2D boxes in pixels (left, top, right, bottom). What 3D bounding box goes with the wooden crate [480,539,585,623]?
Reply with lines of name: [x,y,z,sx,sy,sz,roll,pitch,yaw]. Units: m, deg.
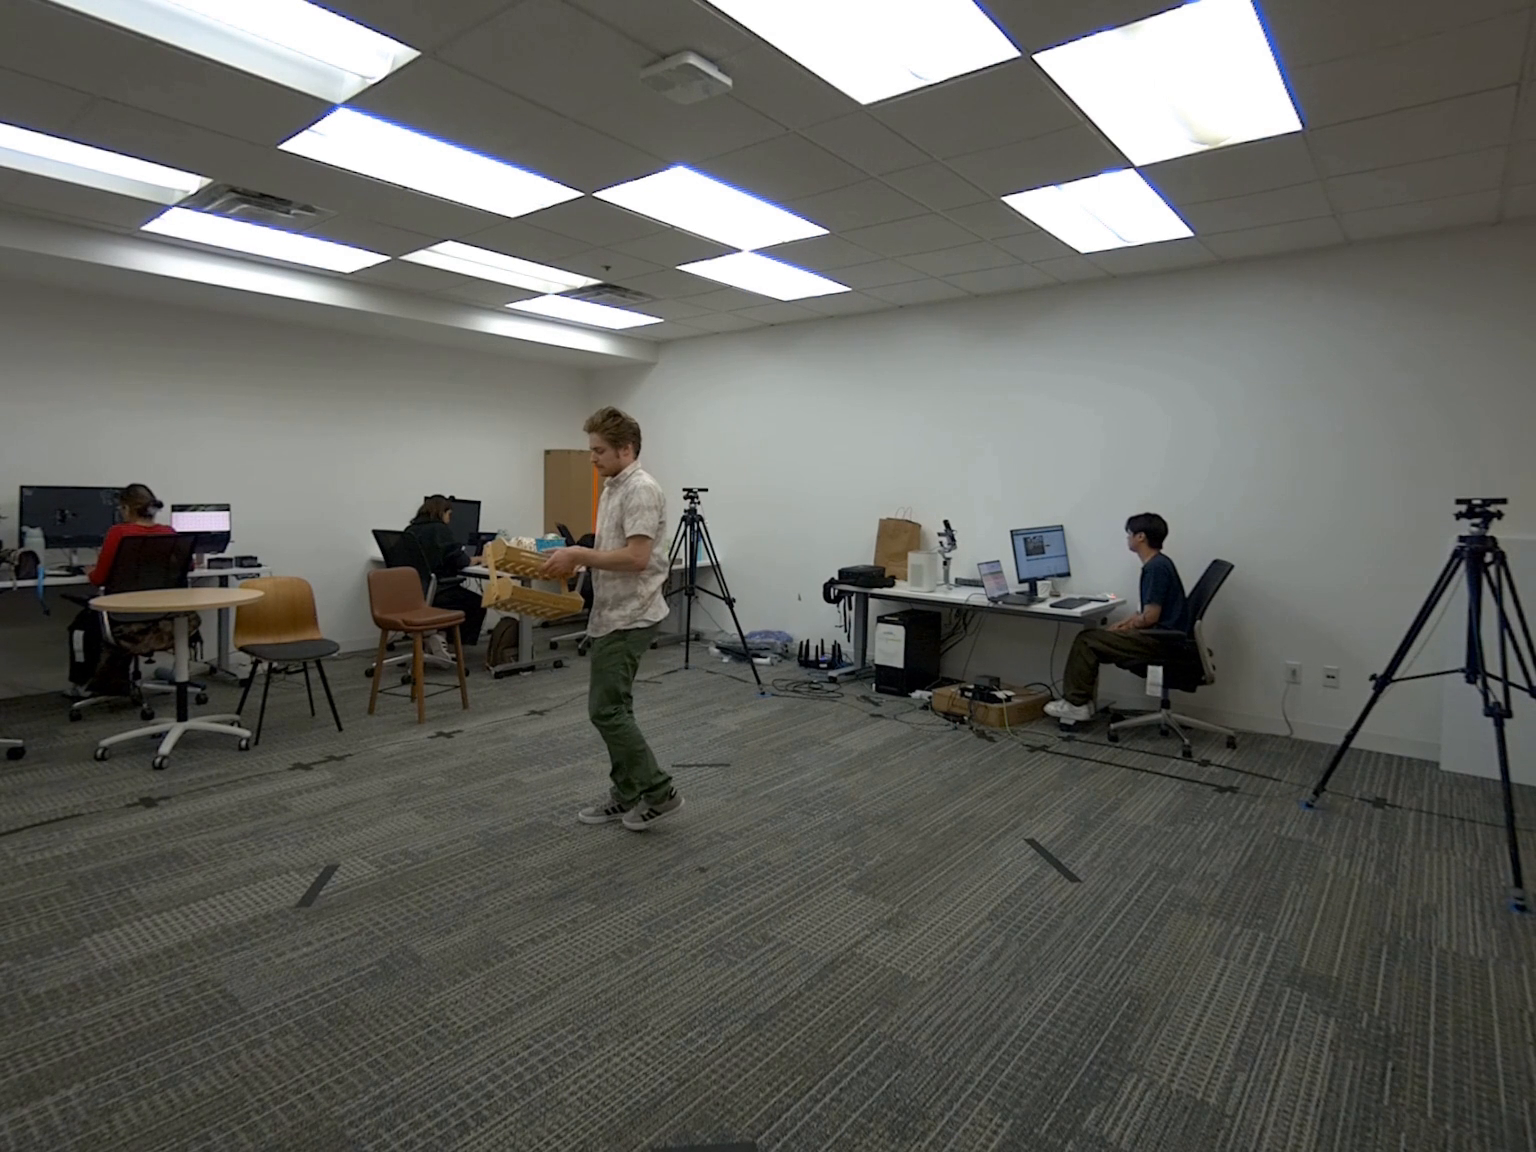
wooden crate: [-0.932,-0.001,3.303,0.312,0.277,0.309,17,-22,-40]
